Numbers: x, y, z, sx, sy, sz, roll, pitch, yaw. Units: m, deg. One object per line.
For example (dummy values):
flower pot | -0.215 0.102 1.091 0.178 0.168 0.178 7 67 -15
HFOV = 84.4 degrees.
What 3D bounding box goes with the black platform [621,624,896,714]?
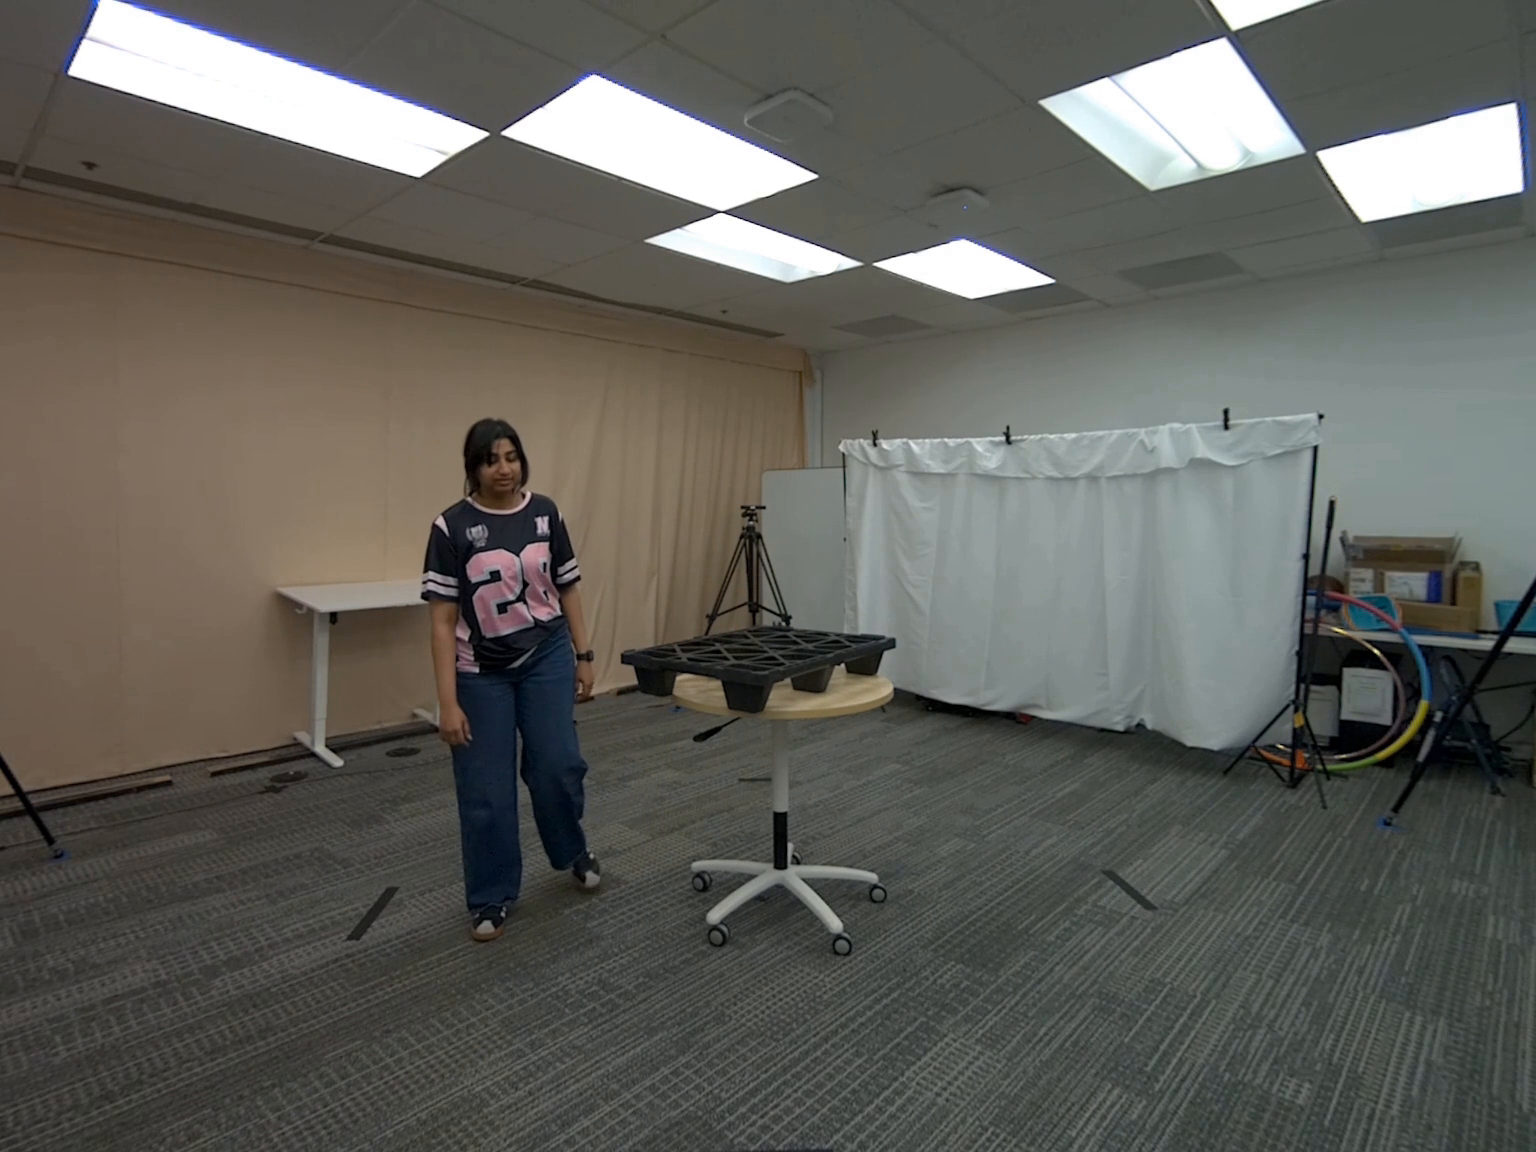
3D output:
black platform | -0.019 0.307 2.877 0.625 0.143 0.782 2 5 38
